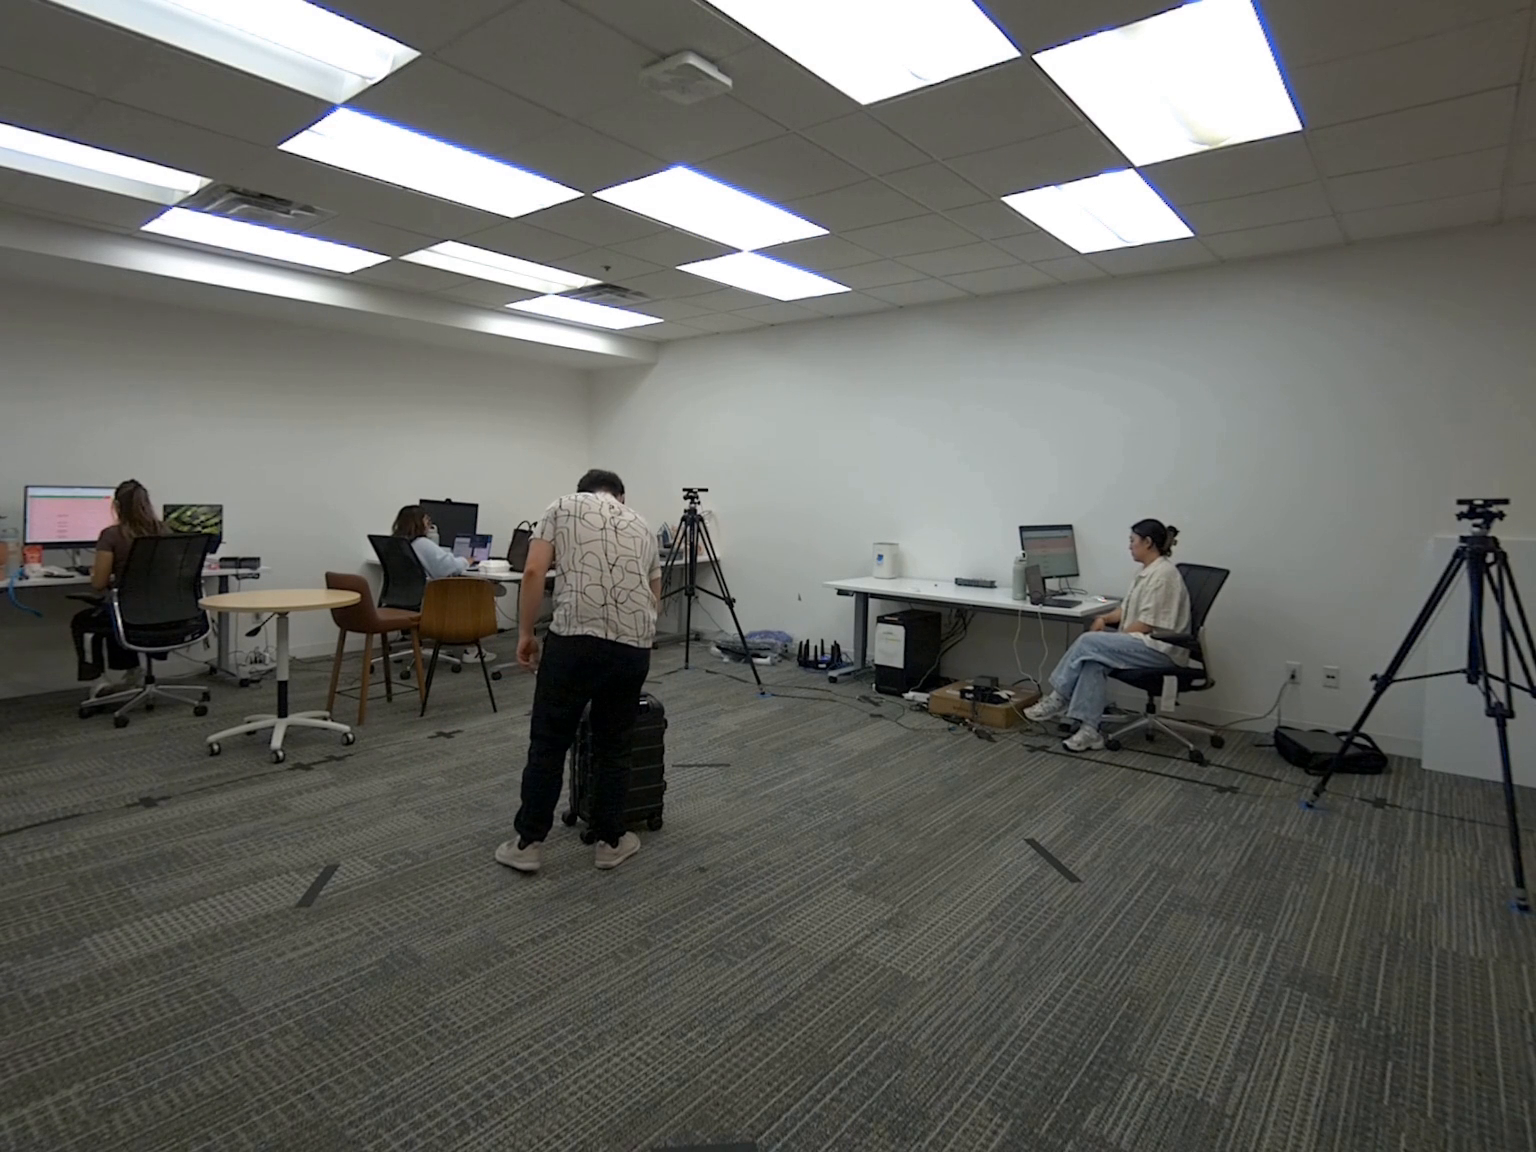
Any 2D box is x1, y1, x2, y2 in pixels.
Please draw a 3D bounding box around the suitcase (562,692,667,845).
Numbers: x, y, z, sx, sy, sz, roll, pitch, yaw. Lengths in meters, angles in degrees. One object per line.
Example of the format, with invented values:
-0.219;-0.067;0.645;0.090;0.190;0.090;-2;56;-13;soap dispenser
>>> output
-0.636;0.746;3.488;0.365;0.548;0.256;-1;4;-32;suitcase
